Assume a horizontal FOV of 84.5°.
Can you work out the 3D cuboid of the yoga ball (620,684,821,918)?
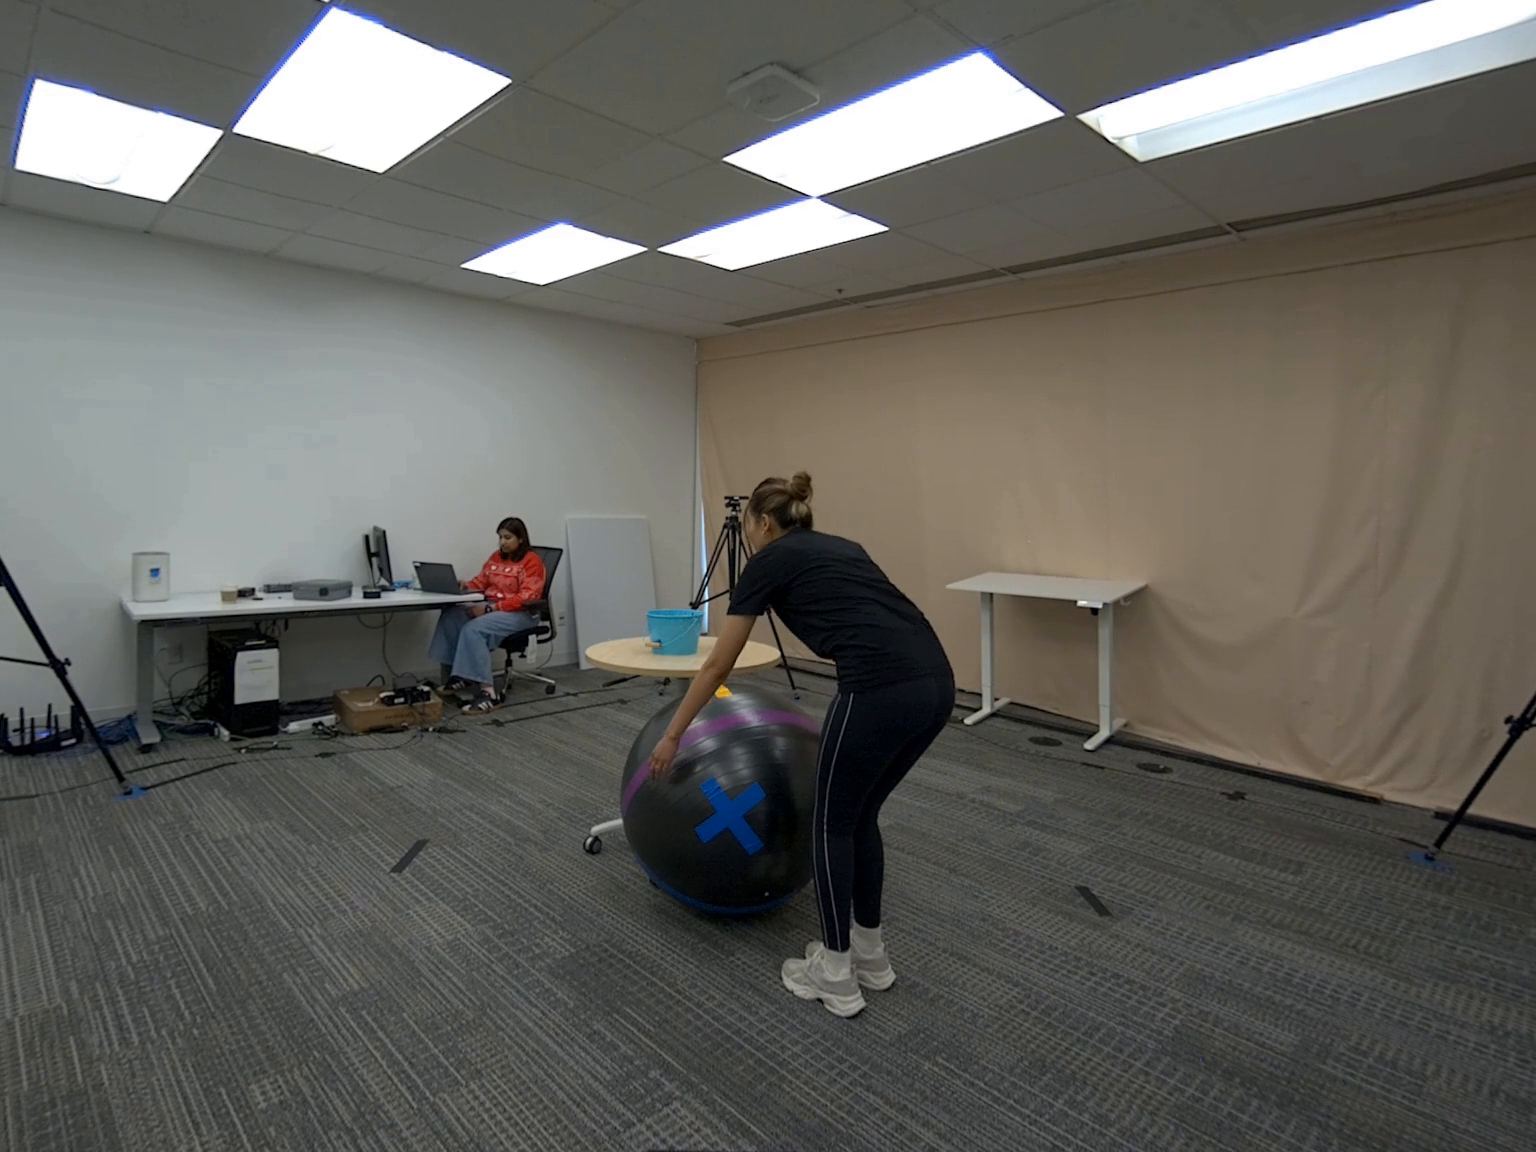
[{"bbox_3d":[-0.130,0.751,2.874,0.757,0.756,0.761,1,4,-1],"label":"yoga ball"}]
